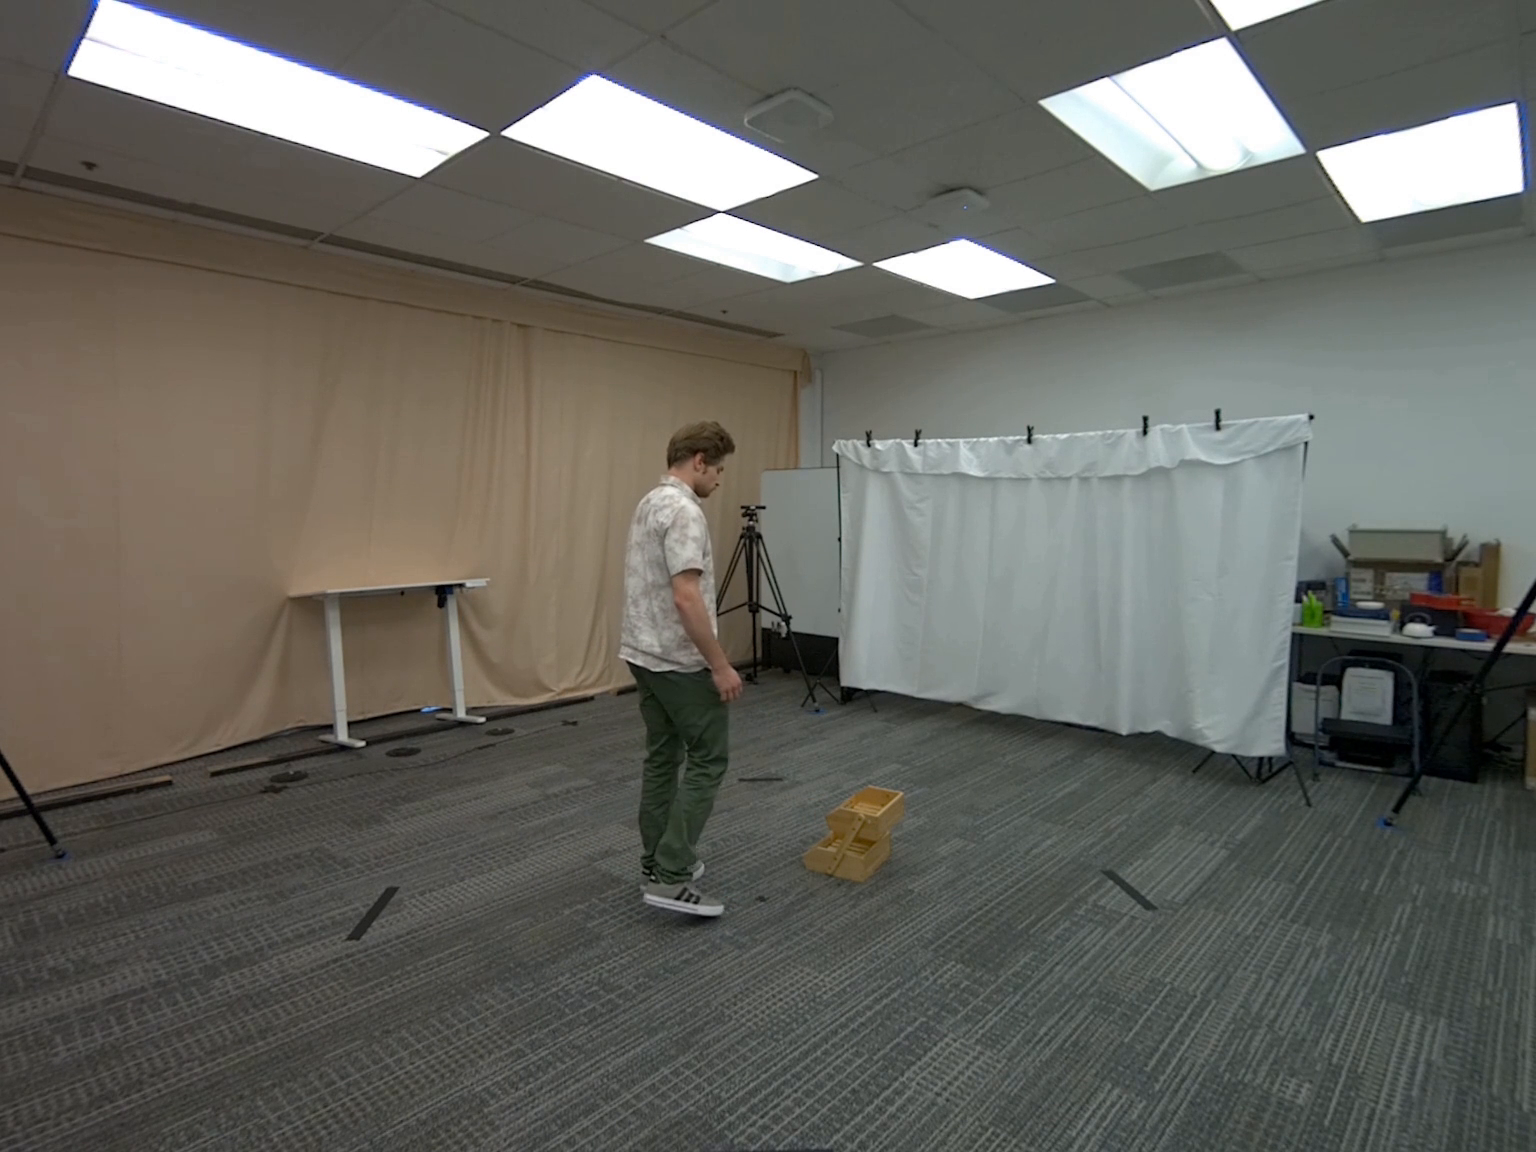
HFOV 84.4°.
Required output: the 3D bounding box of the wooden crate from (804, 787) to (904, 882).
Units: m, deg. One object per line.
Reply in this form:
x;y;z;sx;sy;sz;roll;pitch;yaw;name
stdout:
0.336;0.983;3.279;0.311;0.272;0.316;4;5;29;wooden crate
